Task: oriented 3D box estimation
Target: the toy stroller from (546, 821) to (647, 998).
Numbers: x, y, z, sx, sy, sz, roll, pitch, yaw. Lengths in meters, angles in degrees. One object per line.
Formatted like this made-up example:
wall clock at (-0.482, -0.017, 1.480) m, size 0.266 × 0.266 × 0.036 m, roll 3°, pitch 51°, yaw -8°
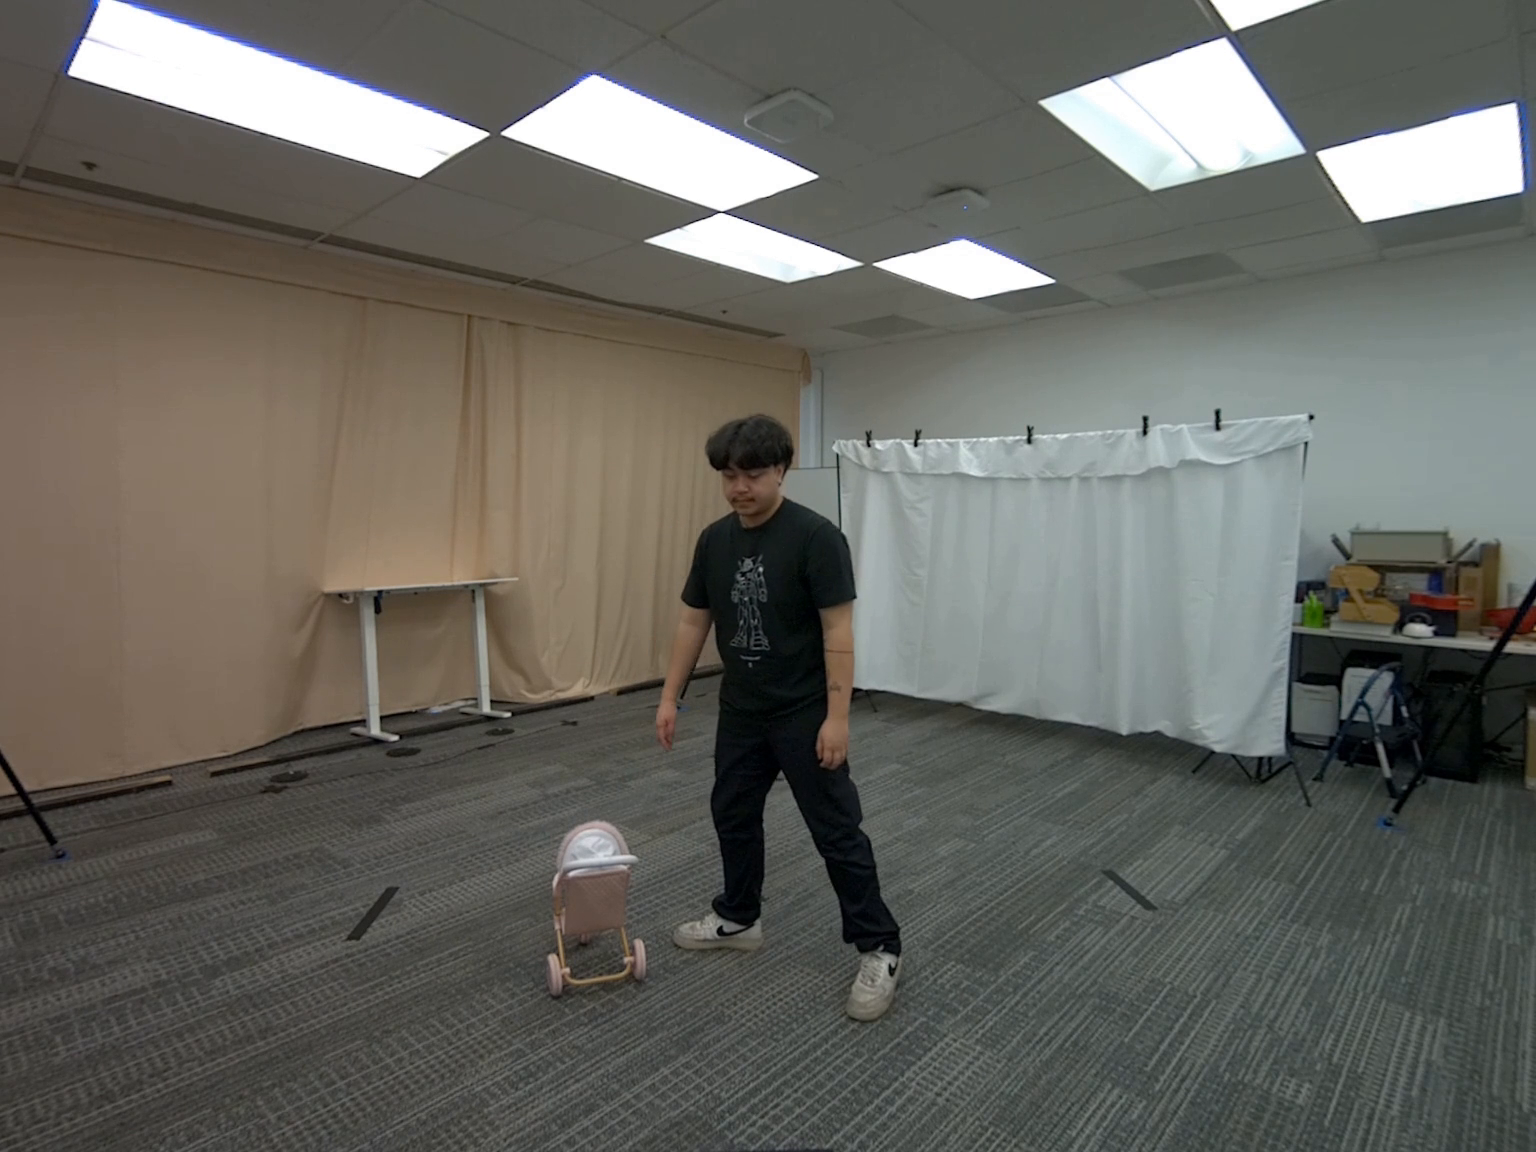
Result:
toy stroller at (-0.520, 0.962, 2.511) m, size 0.277 × 0.530 × 0.350 m, roll -1°, pitch 18°, yaw -16°
